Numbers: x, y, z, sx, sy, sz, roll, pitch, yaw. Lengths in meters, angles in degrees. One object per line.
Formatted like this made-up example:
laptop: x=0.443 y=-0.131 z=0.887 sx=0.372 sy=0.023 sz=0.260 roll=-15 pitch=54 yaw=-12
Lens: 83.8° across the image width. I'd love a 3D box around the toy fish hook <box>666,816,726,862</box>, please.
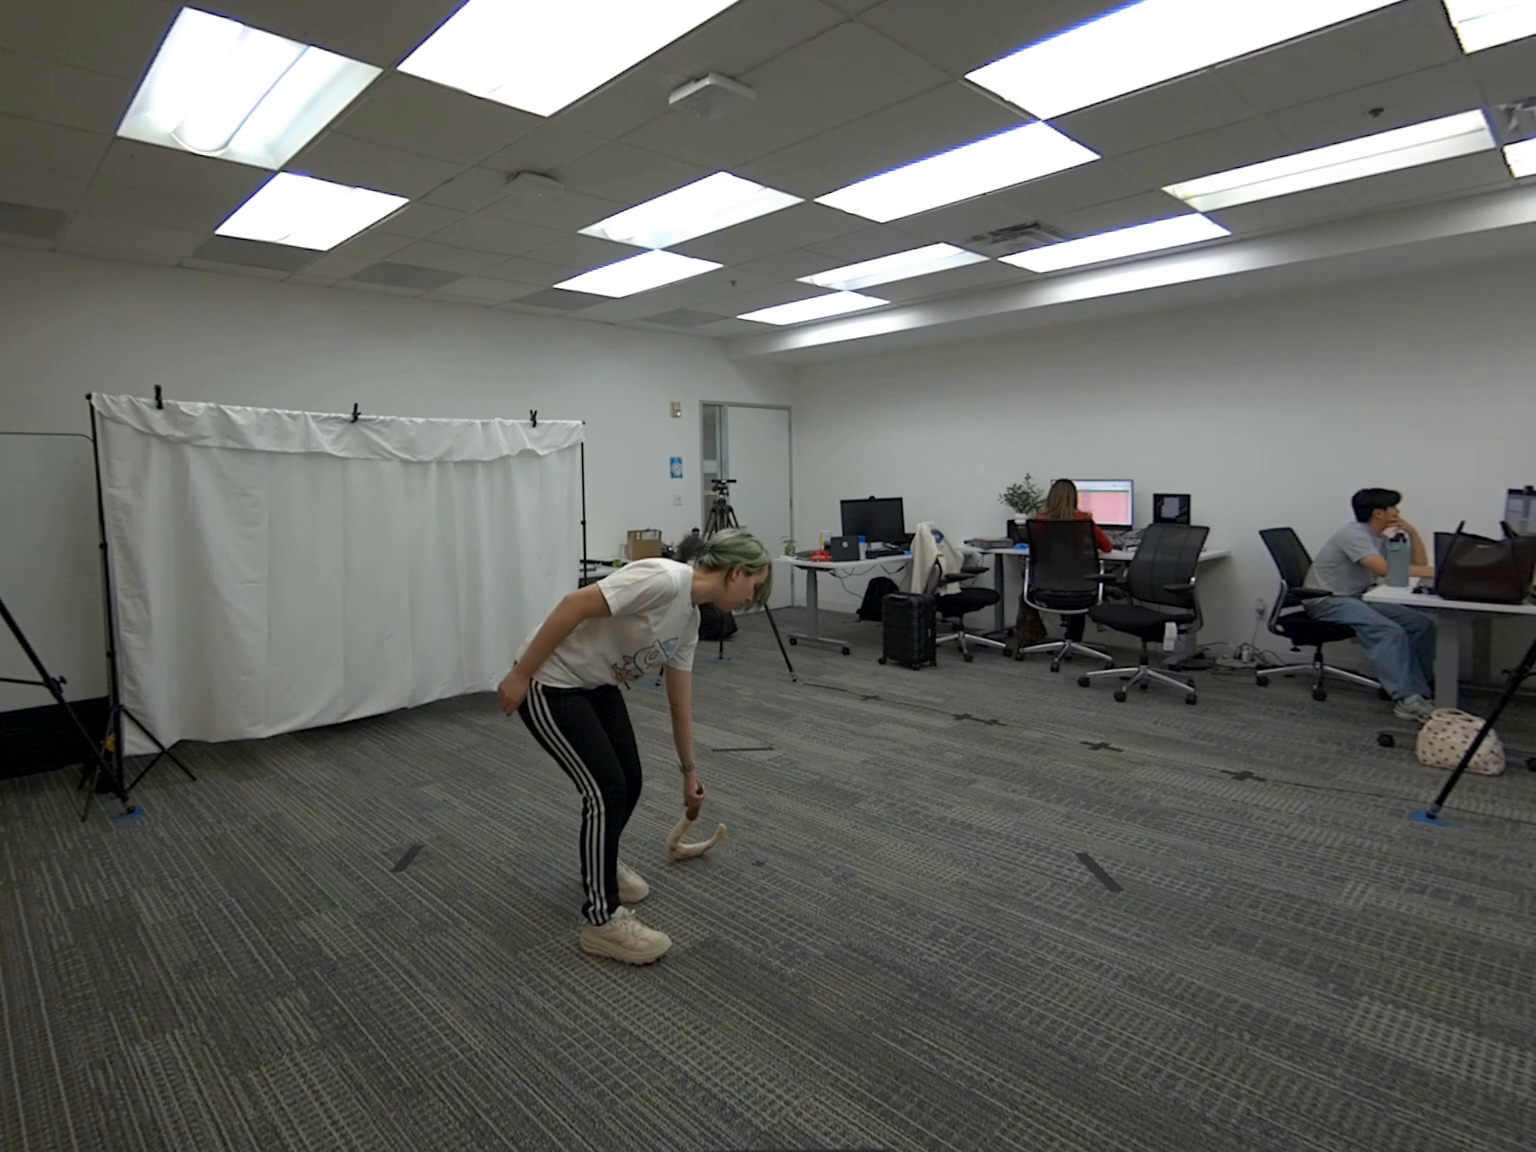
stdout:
toy fish hook: x=-0.236 y=0.866 z=3.016 sx=0.221 sy=0.497 sz=0.050 roll=-4 pitch=47 yaw=-21
